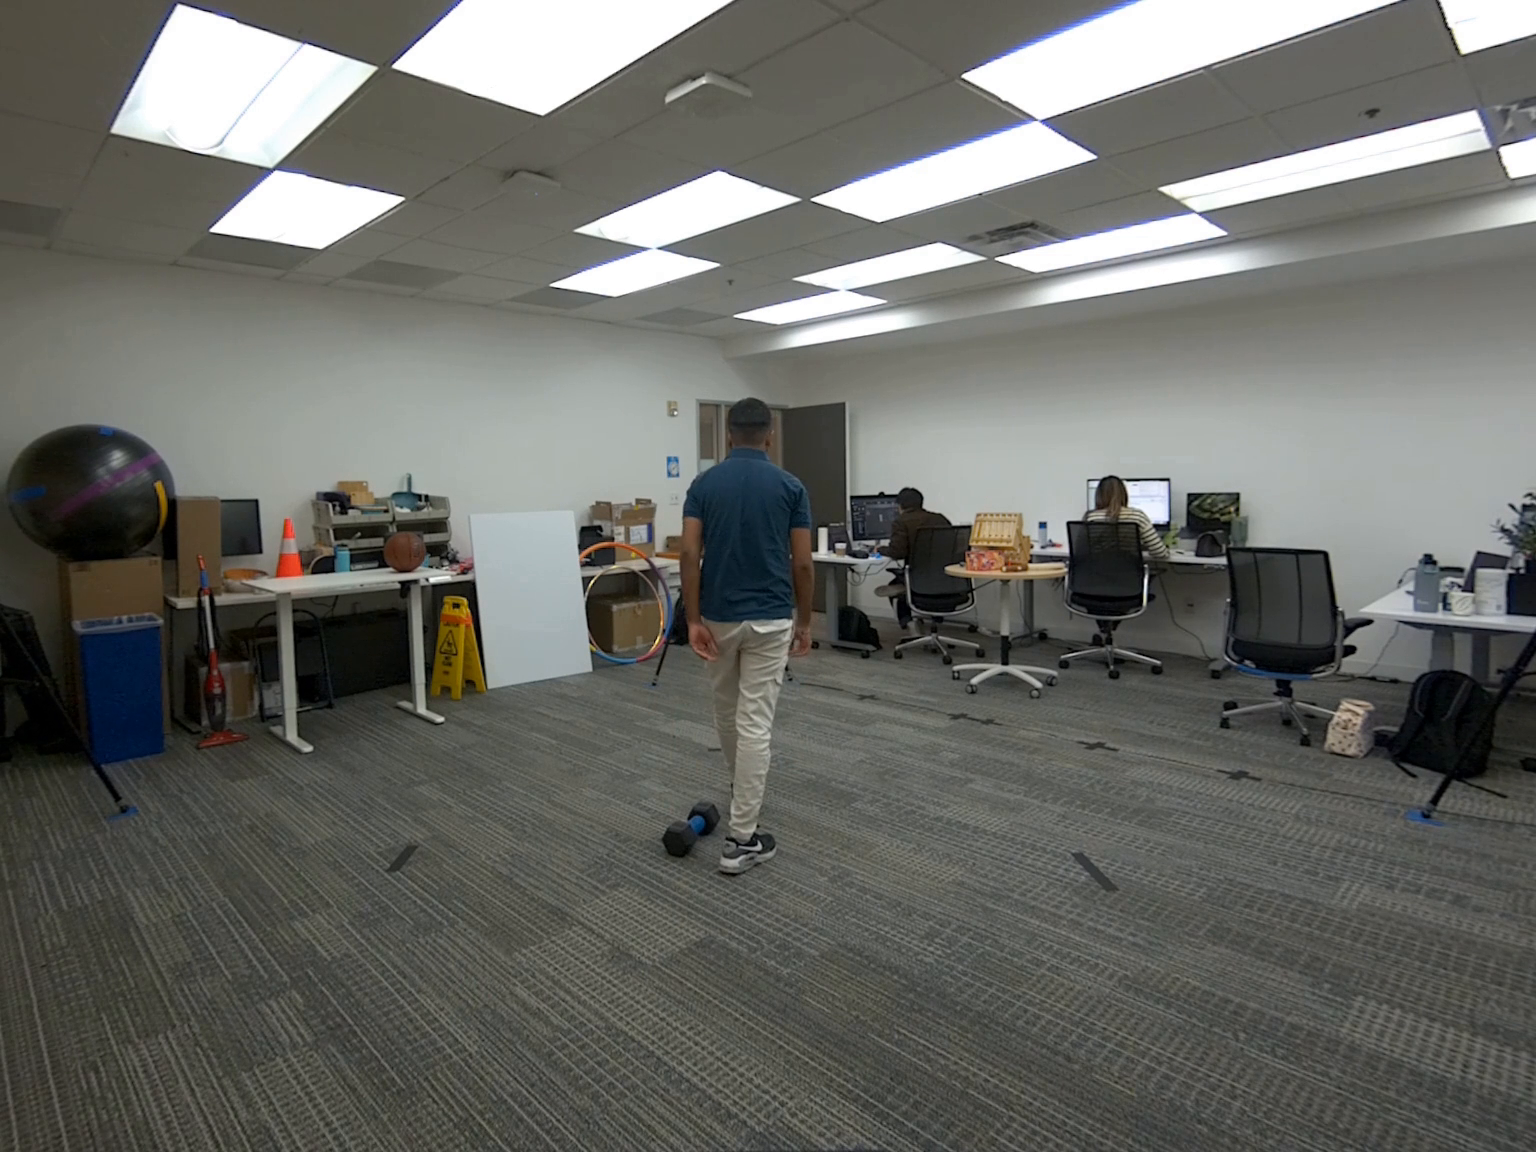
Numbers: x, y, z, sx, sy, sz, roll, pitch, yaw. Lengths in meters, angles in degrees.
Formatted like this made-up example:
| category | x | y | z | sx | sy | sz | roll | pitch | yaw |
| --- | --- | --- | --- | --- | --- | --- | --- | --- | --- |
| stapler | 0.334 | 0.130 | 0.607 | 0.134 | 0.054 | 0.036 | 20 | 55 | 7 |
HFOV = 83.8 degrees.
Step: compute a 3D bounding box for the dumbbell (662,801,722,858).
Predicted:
| category | x | y | z | sx | sy | sz | roll | pitch | yaw |
| --- | --- | --- | --- | --- | --- | --- | --- | --- | --- |
| dumbbell | -0.300 | 0.973 | 3.292 | 0.109 | 0.124 | 0.288 | -30 | -6 | 23 |
